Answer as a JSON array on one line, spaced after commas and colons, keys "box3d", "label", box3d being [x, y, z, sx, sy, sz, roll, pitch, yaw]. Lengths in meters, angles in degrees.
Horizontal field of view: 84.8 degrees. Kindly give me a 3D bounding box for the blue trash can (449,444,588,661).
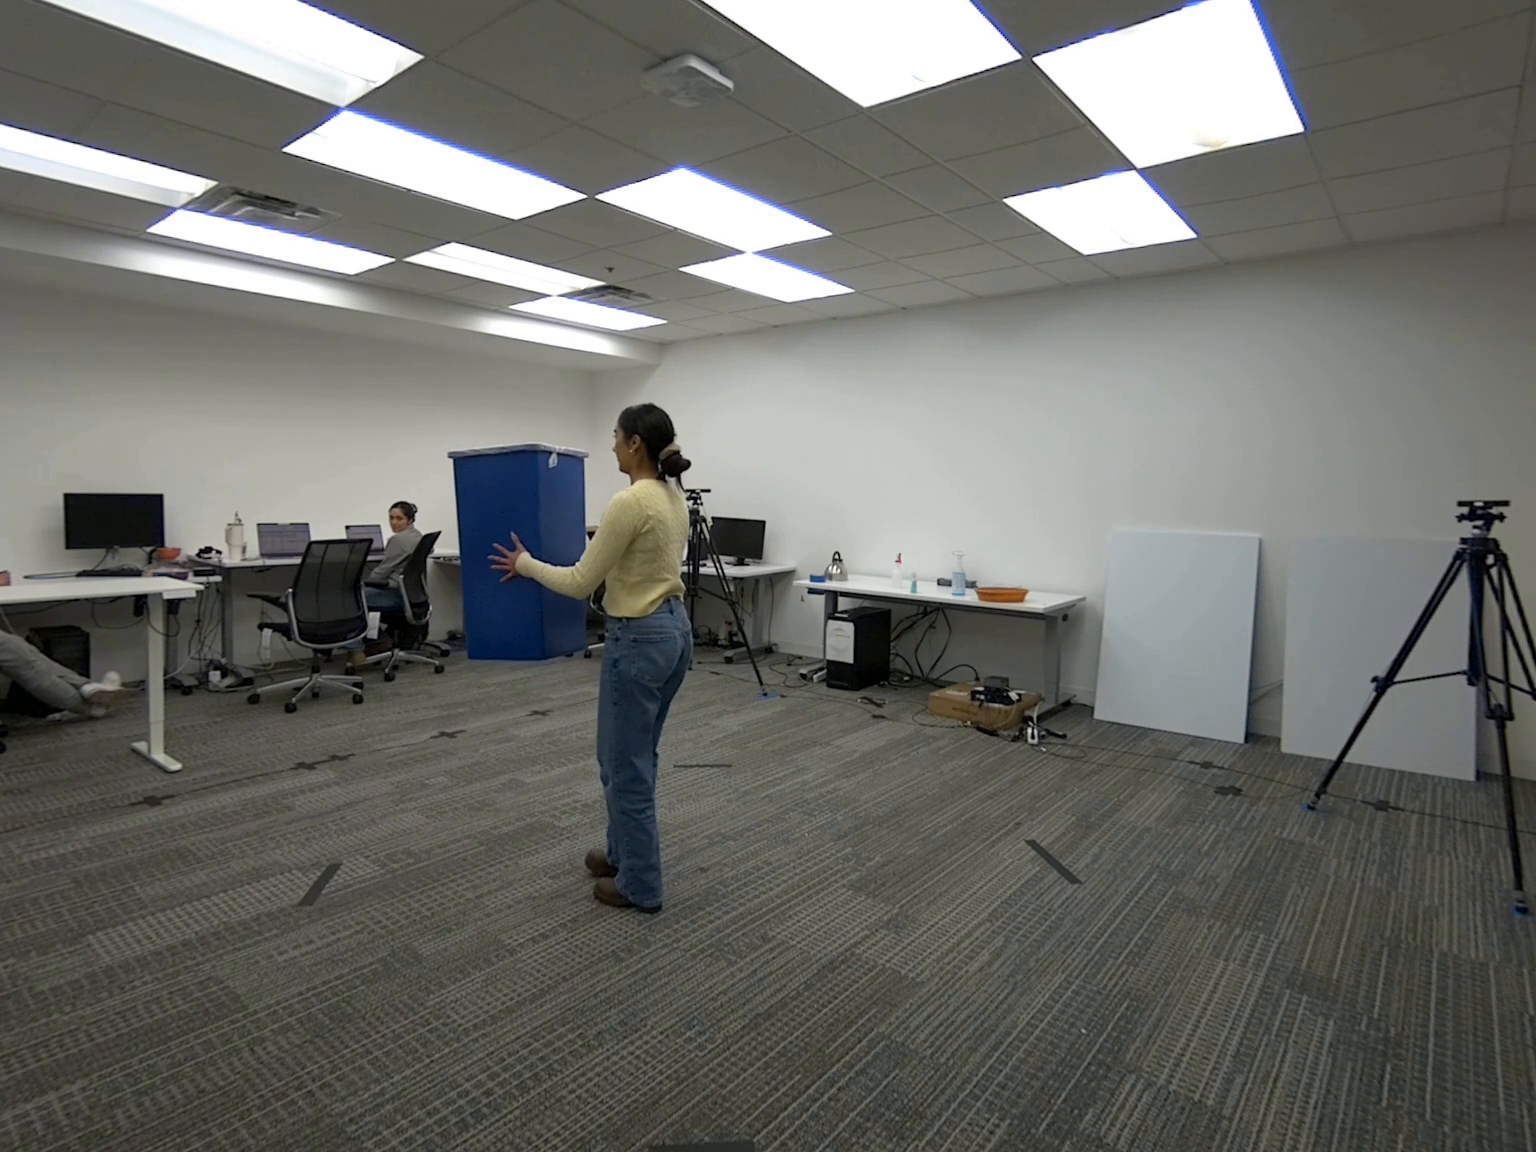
[{"box3d": [-0.873, -0.088, 2.980, 0.381, 0.714, 0.371, -1, 0, 18], "label": "blue trash can"}]
